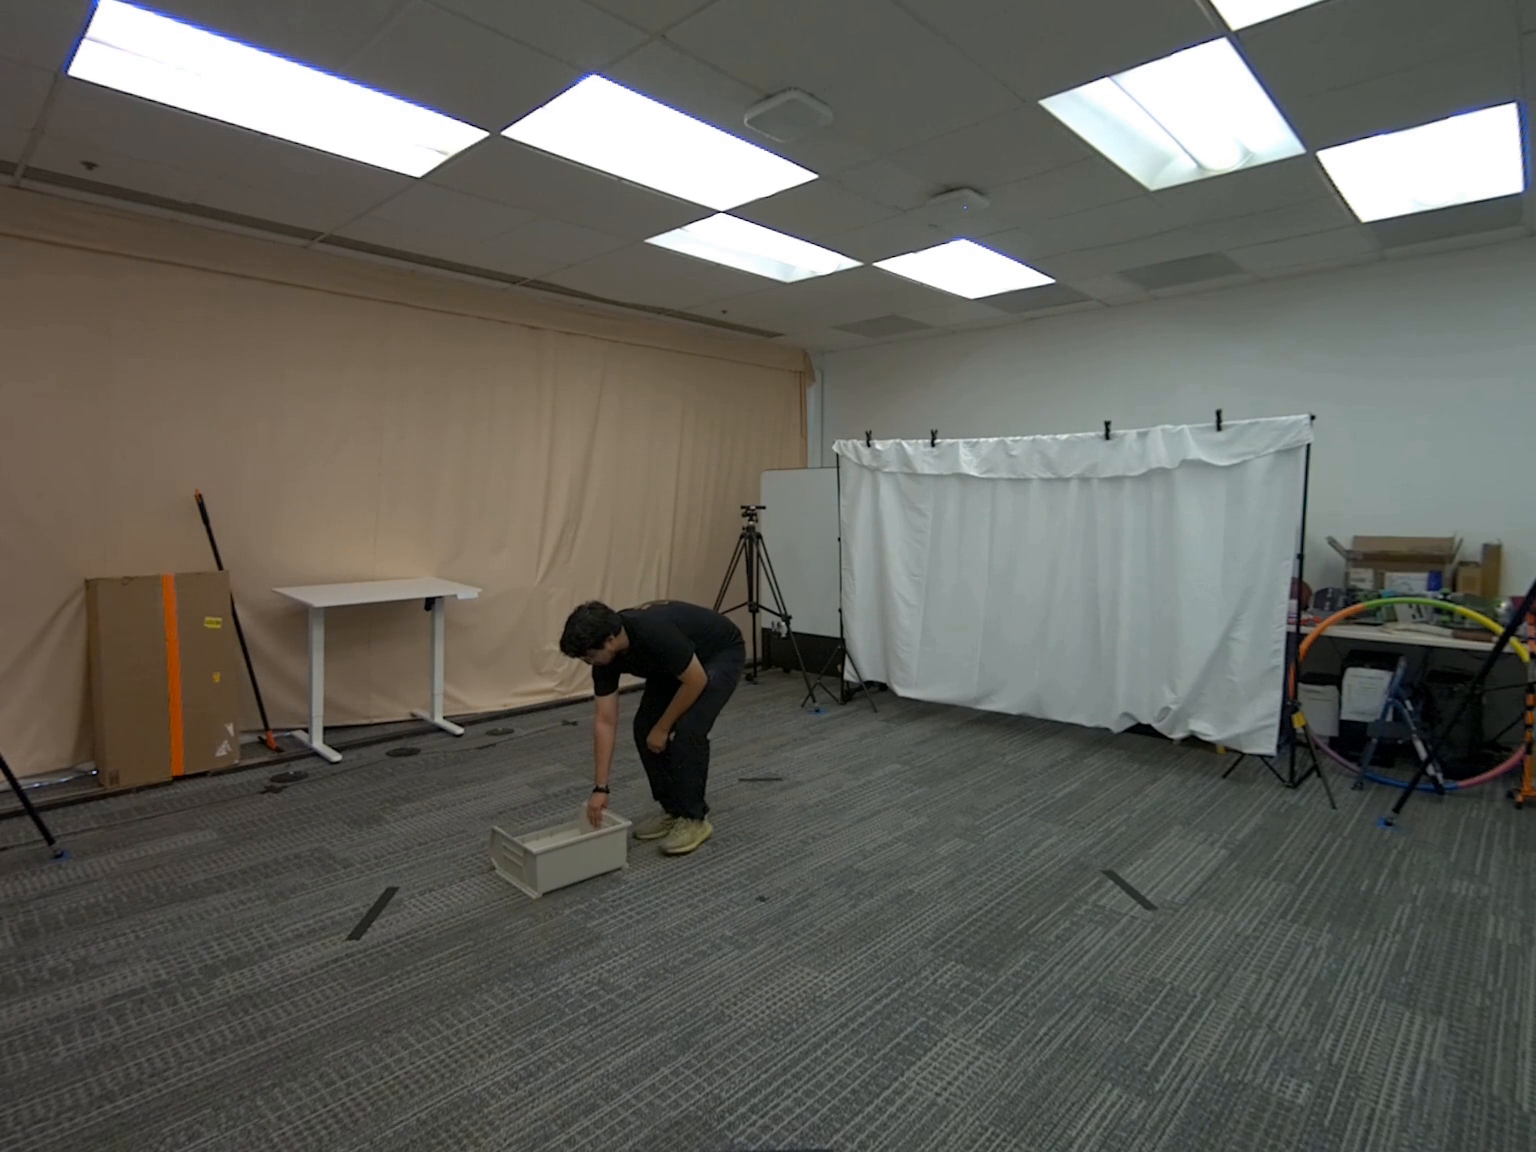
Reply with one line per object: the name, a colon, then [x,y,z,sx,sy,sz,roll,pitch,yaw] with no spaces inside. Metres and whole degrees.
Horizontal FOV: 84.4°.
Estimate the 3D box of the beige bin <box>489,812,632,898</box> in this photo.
beige bin: [-0.807,1.038,3.250,0.409,0.188,0.390,-4,7,-41]
